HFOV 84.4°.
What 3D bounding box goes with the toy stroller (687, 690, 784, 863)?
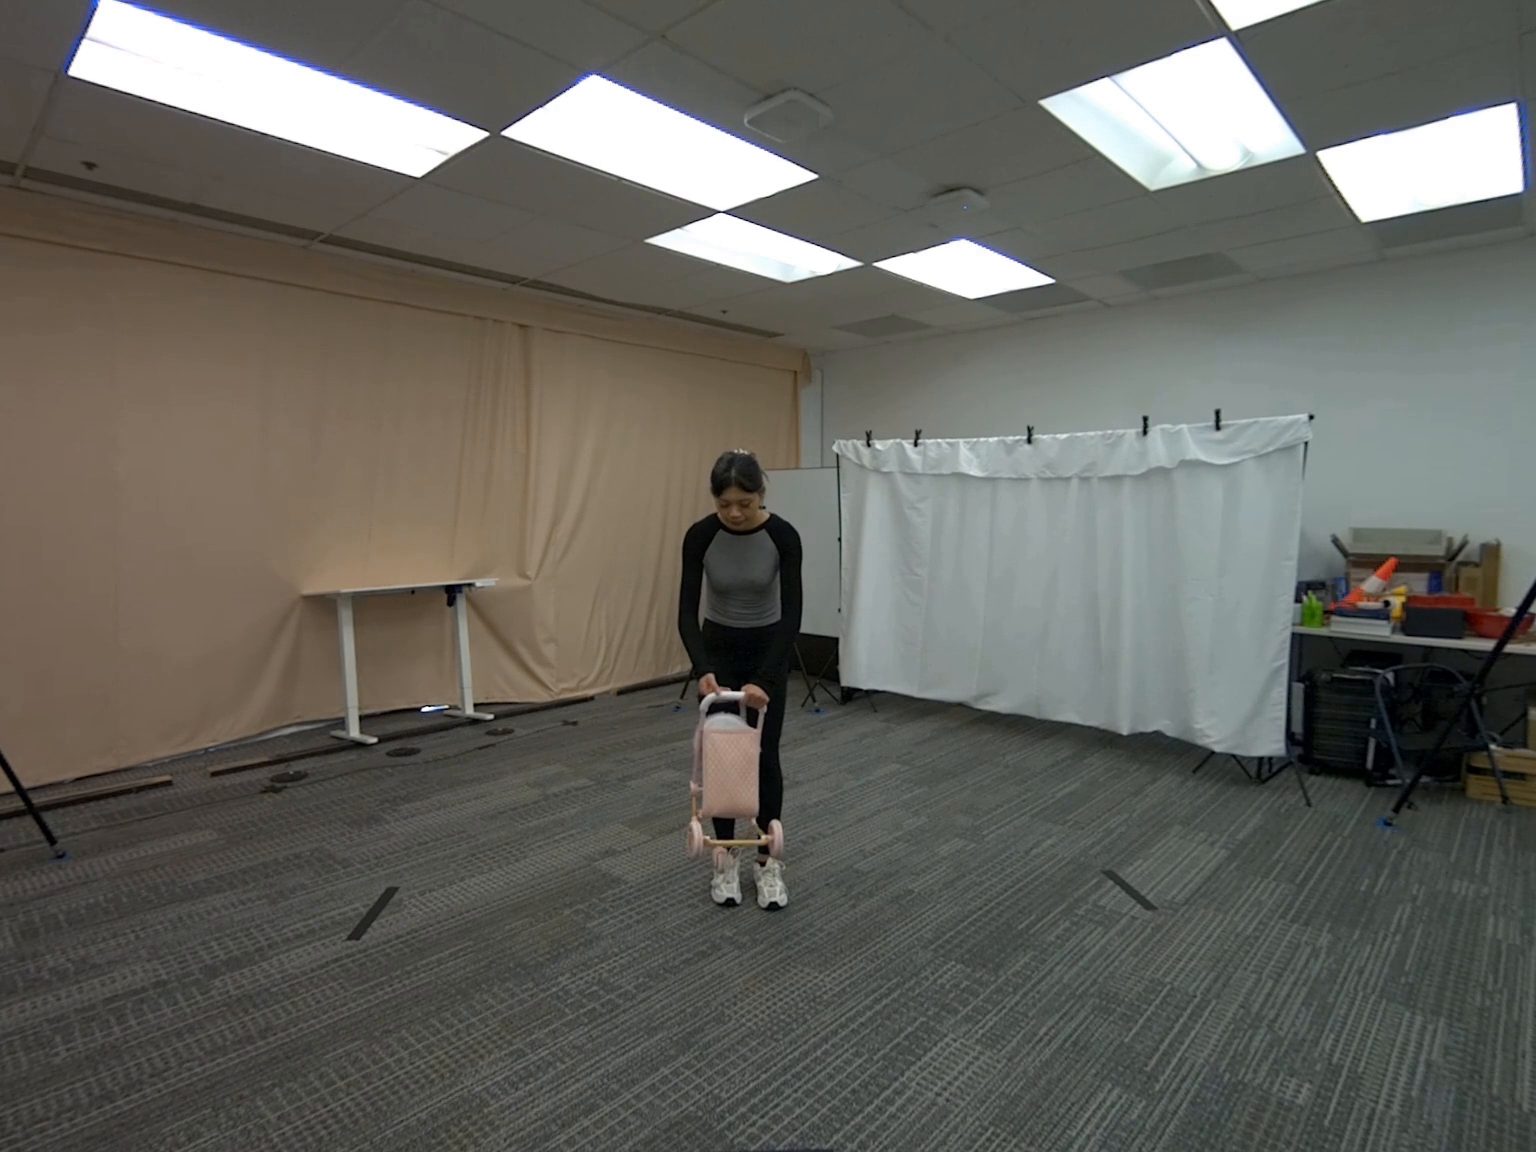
[{"bbox_3d":[-0.124,0.662,2.656,0.278,0.541,0.341,0,-17,-11],"label":"toy stroller"}]
